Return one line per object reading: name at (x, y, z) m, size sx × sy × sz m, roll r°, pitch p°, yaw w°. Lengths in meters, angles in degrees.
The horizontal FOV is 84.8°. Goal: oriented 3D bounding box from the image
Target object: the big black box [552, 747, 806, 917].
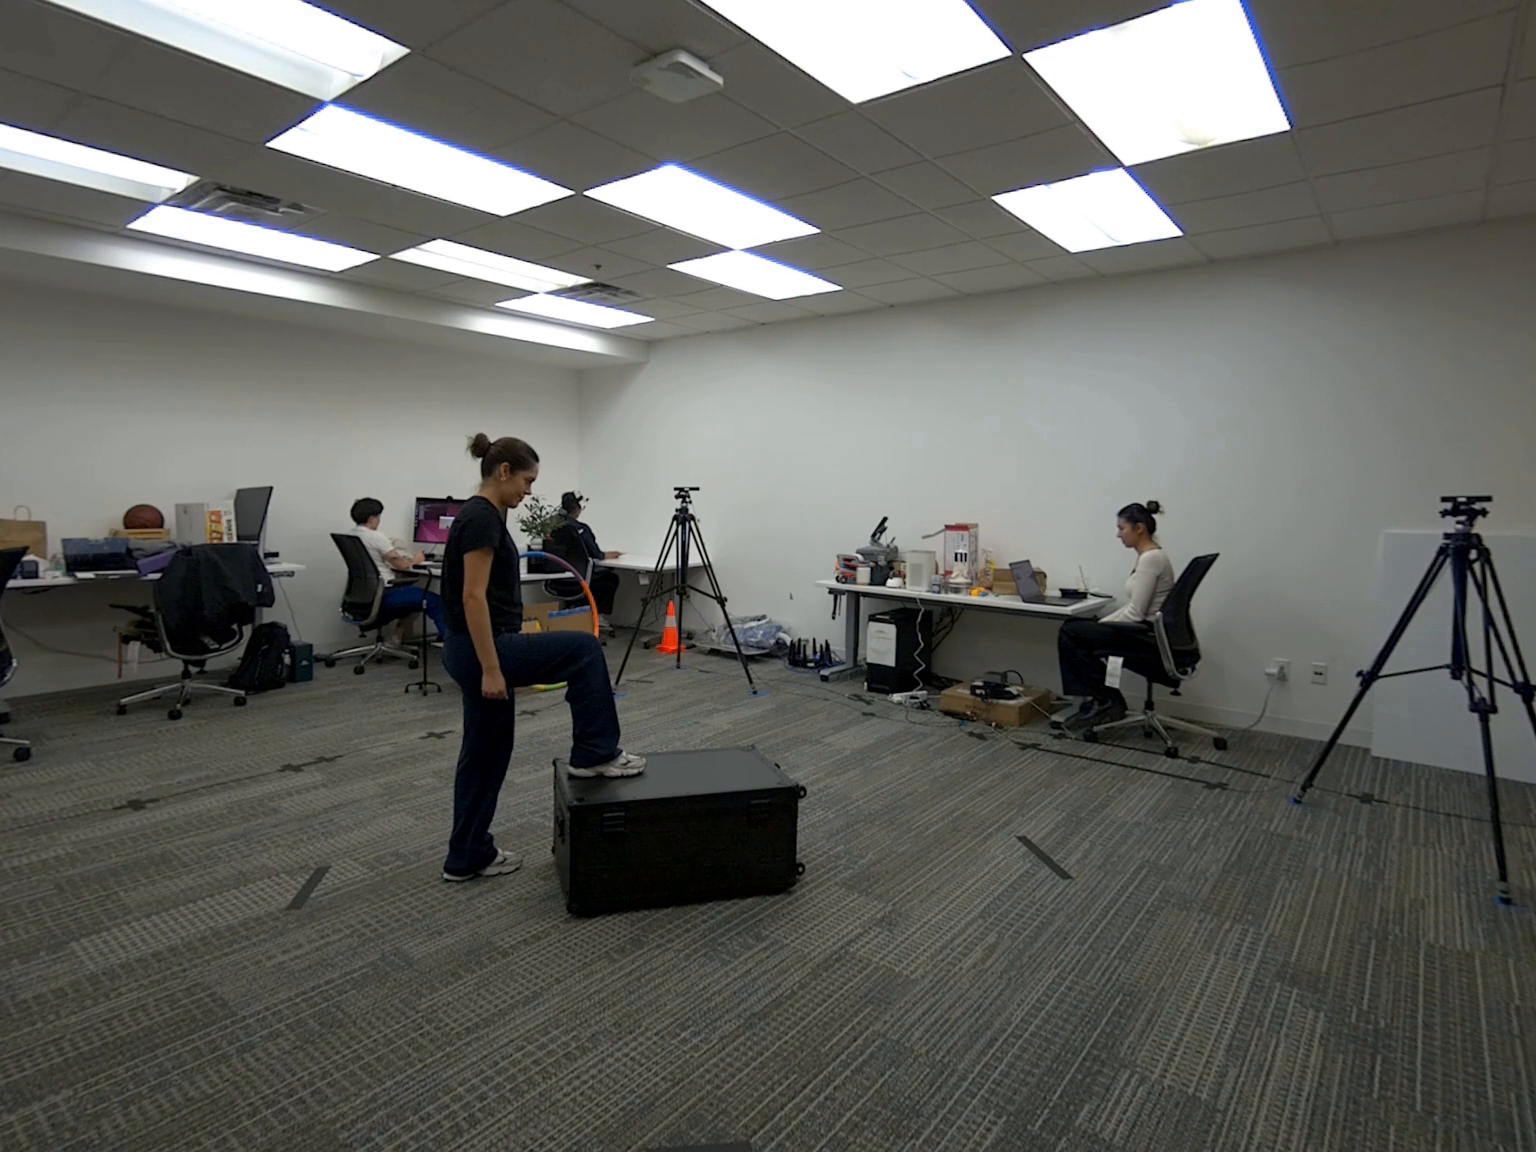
big black box at (-0.303, 0.874, 3.057) m, size 0.846 × 0.395 × 0.533 m, roll -1°, pitch 5°, yaw -18°
